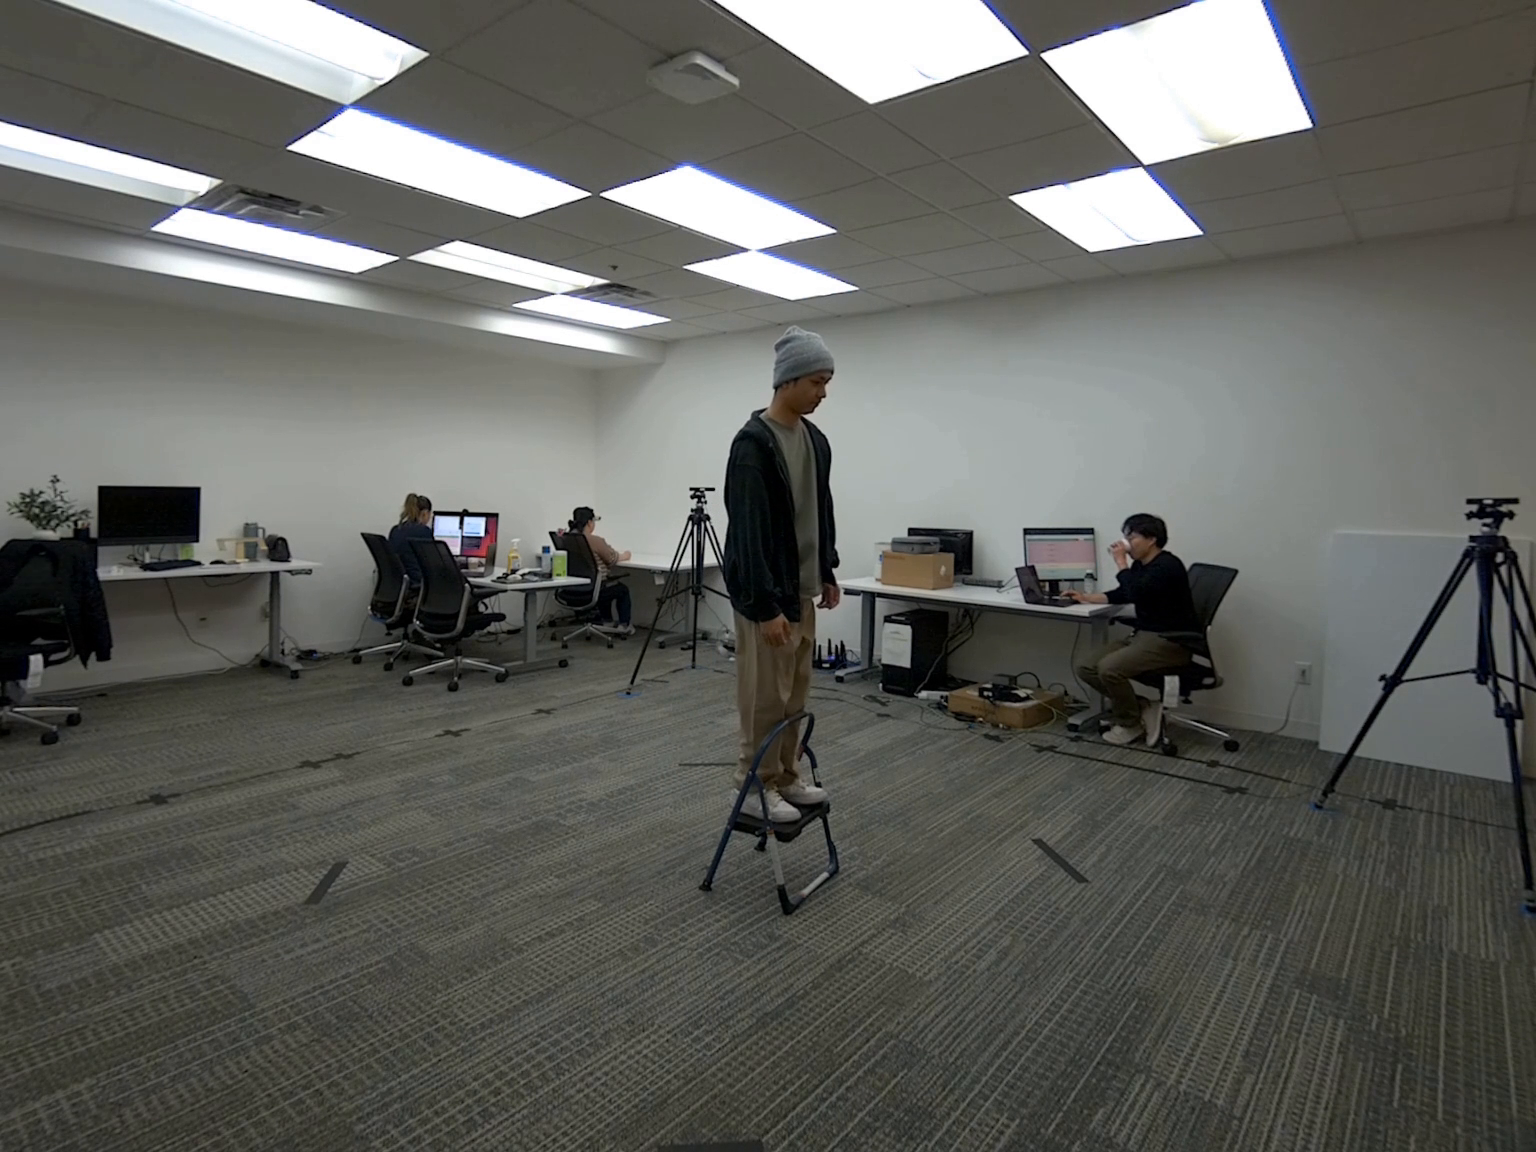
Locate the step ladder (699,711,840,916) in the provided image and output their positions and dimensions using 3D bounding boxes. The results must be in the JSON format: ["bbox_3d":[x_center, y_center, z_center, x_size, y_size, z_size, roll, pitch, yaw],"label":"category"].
[{"bbox_3d":[0.015,0.778,3.016,0.359,0.604,0.420,4,4,29],"label":"step ladder"}]
